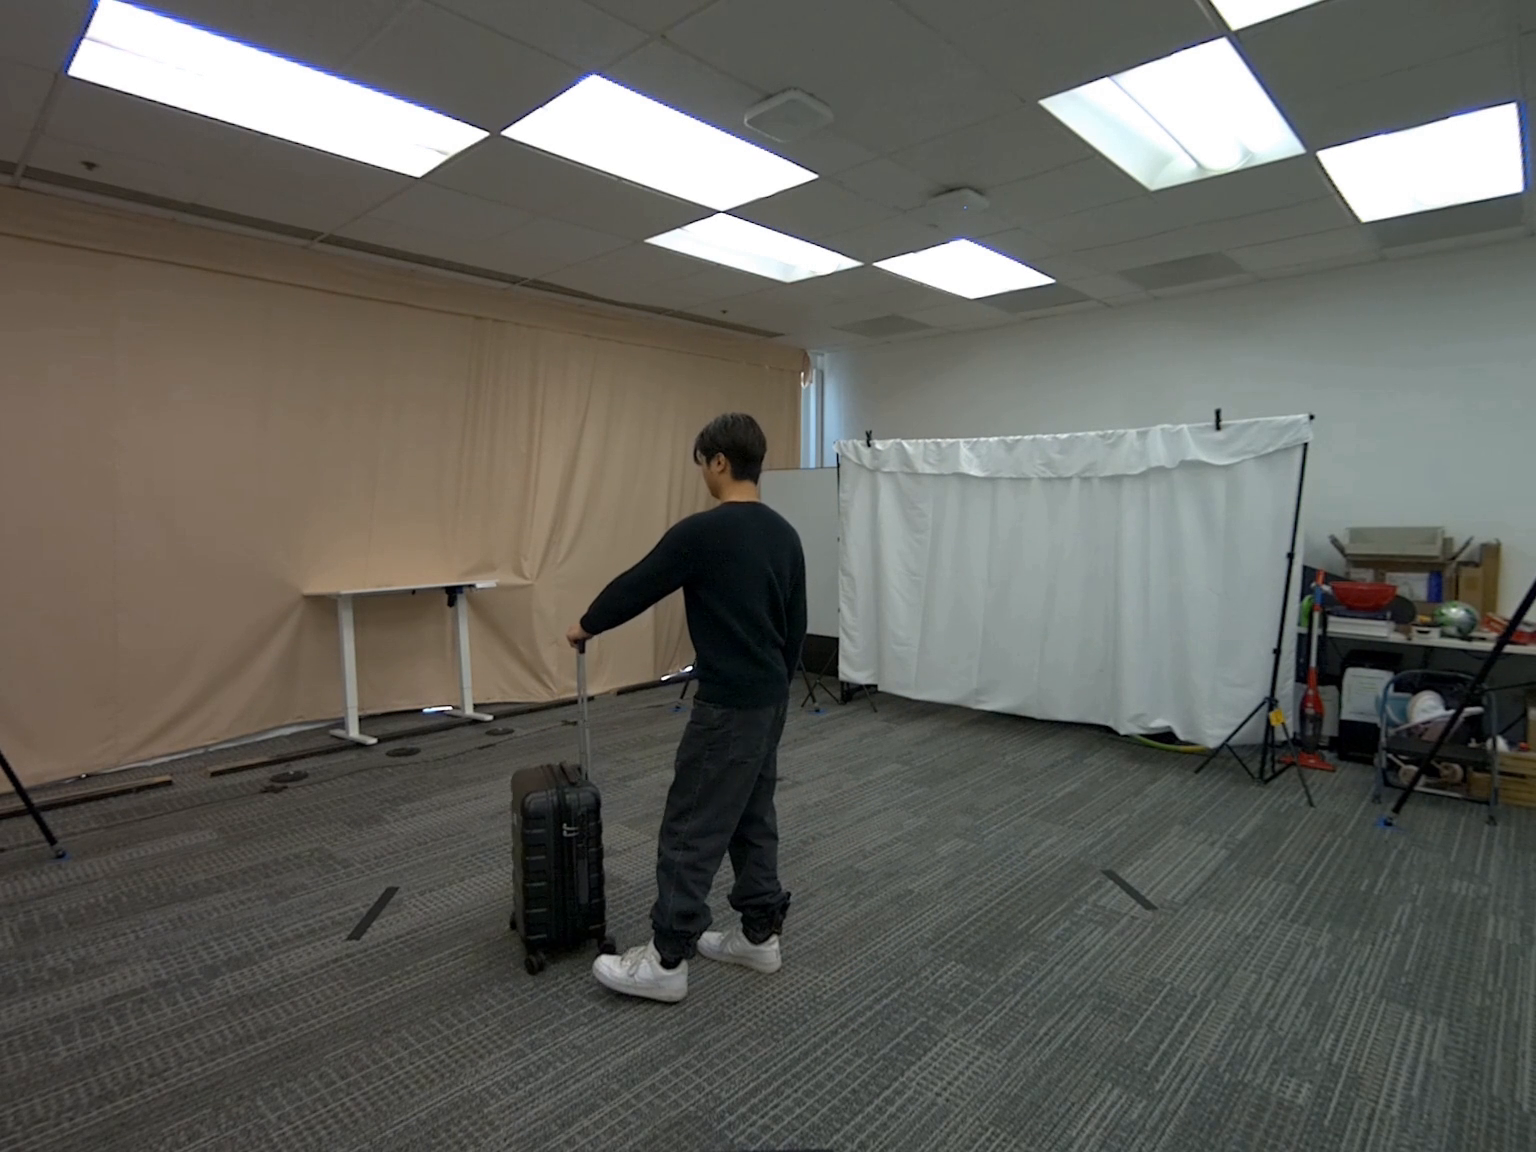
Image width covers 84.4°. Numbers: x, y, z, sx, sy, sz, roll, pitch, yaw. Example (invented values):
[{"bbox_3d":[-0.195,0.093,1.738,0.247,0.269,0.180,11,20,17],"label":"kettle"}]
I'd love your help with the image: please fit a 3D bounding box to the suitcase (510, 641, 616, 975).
[{"bbox_3d":[-0.688,0.697,2.682,0.252,0.976,0.392,-4,3,-20],"label":"suitcase"}]
